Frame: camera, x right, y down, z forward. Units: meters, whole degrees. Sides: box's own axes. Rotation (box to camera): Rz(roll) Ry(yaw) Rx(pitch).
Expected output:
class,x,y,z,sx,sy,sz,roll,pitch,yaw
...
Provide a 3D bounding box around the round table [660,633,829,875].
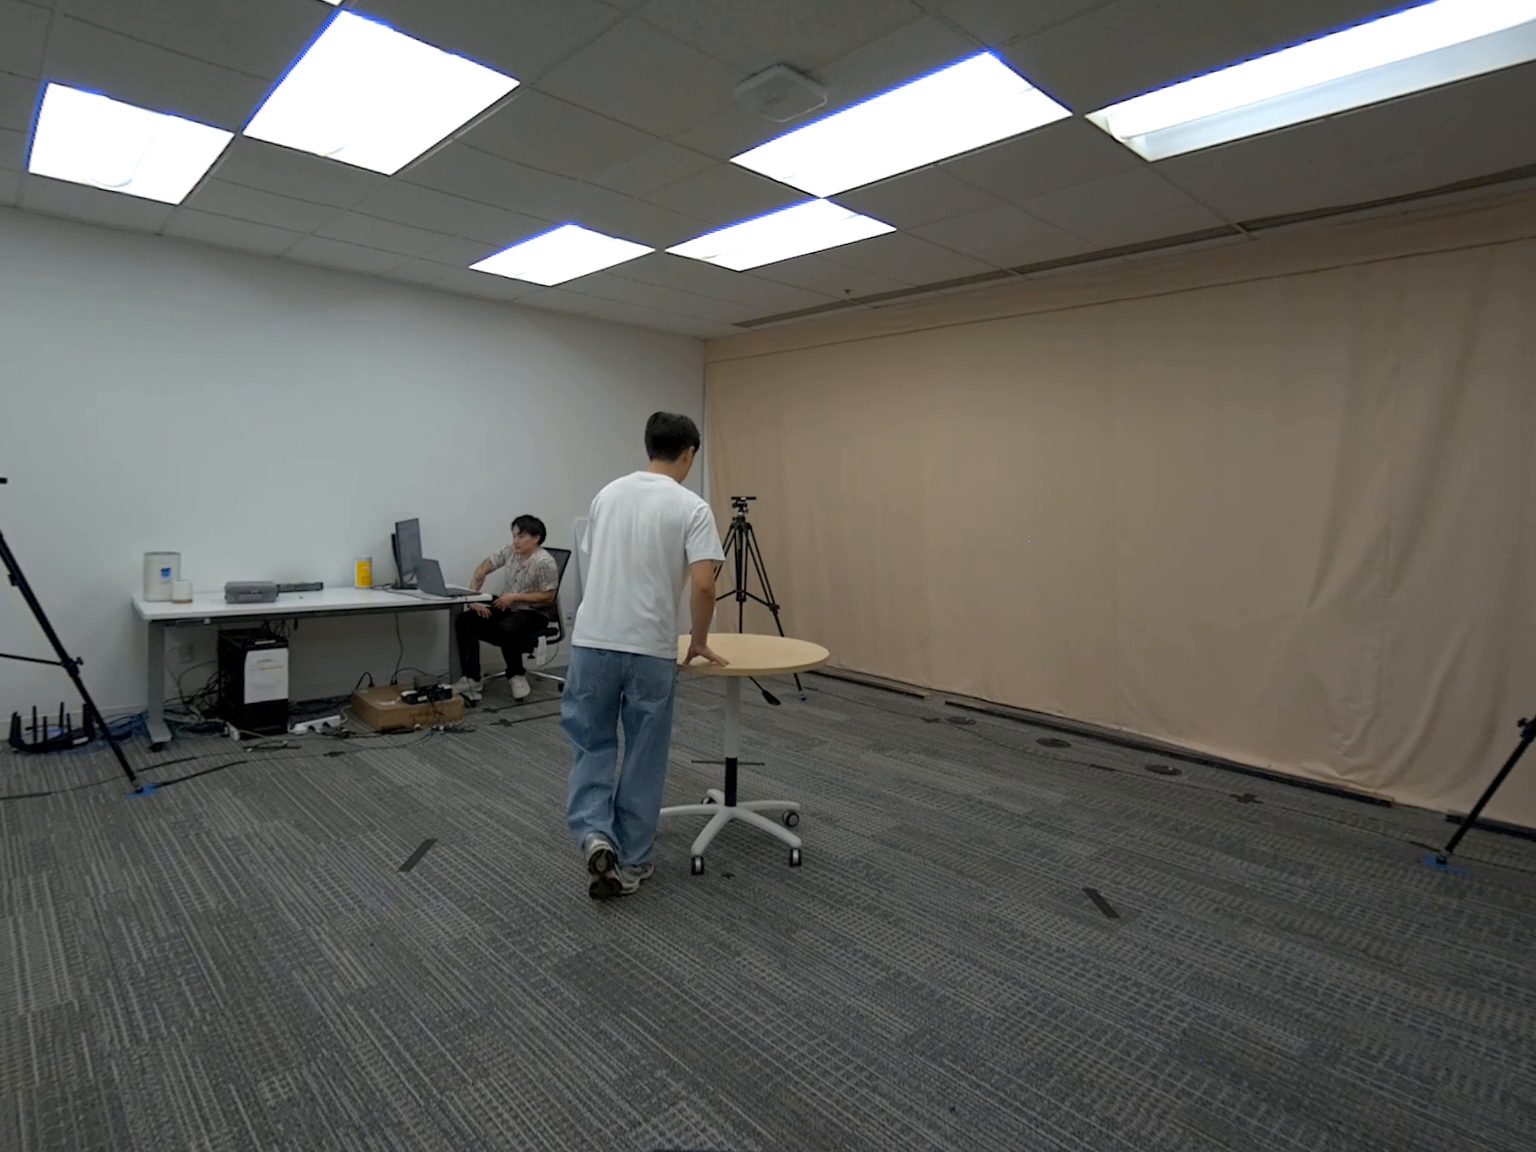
class,x,y,z,sx,sy,sz,roll,pitch,yaw
round table,-0.153,0.689,3.414,0.763,0.792,0.766,2,4,-1
